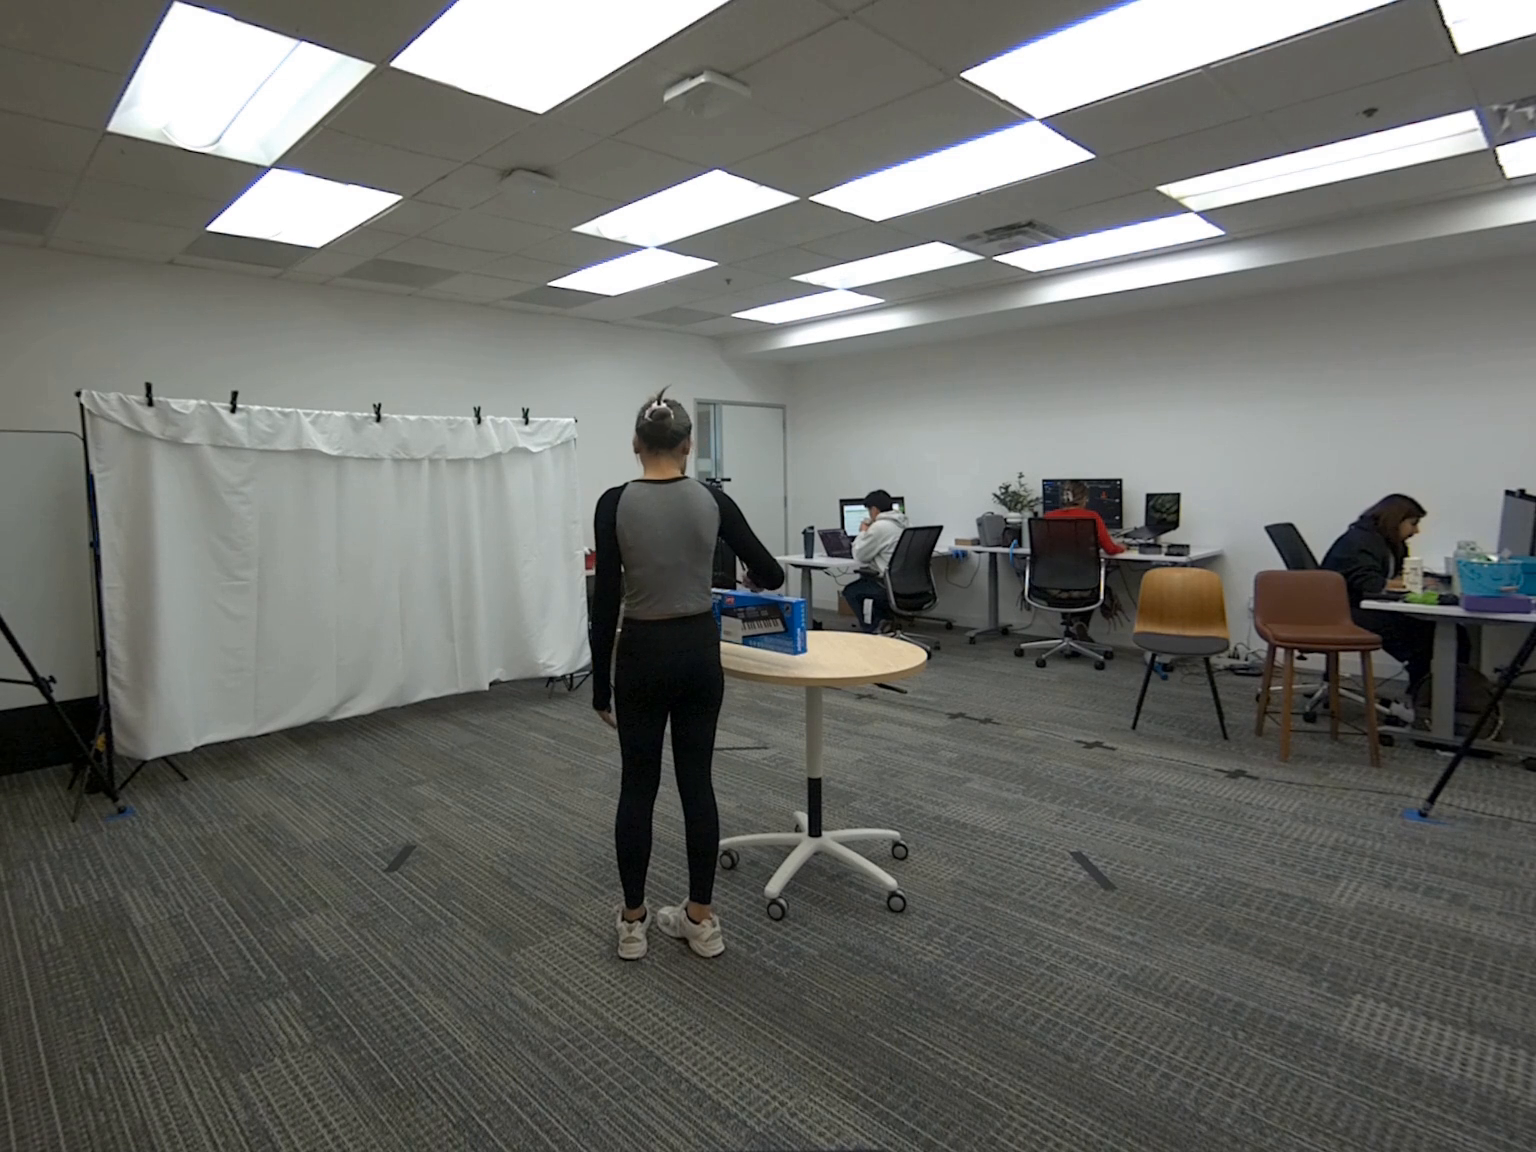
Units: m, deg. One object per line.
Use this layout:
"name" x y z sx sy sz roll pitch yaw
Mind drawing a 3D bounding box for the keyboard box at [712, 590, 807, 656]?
"keyboard box" -0.050 0.151 2.841 0.057 0.175 0.450 -7 8 -43
